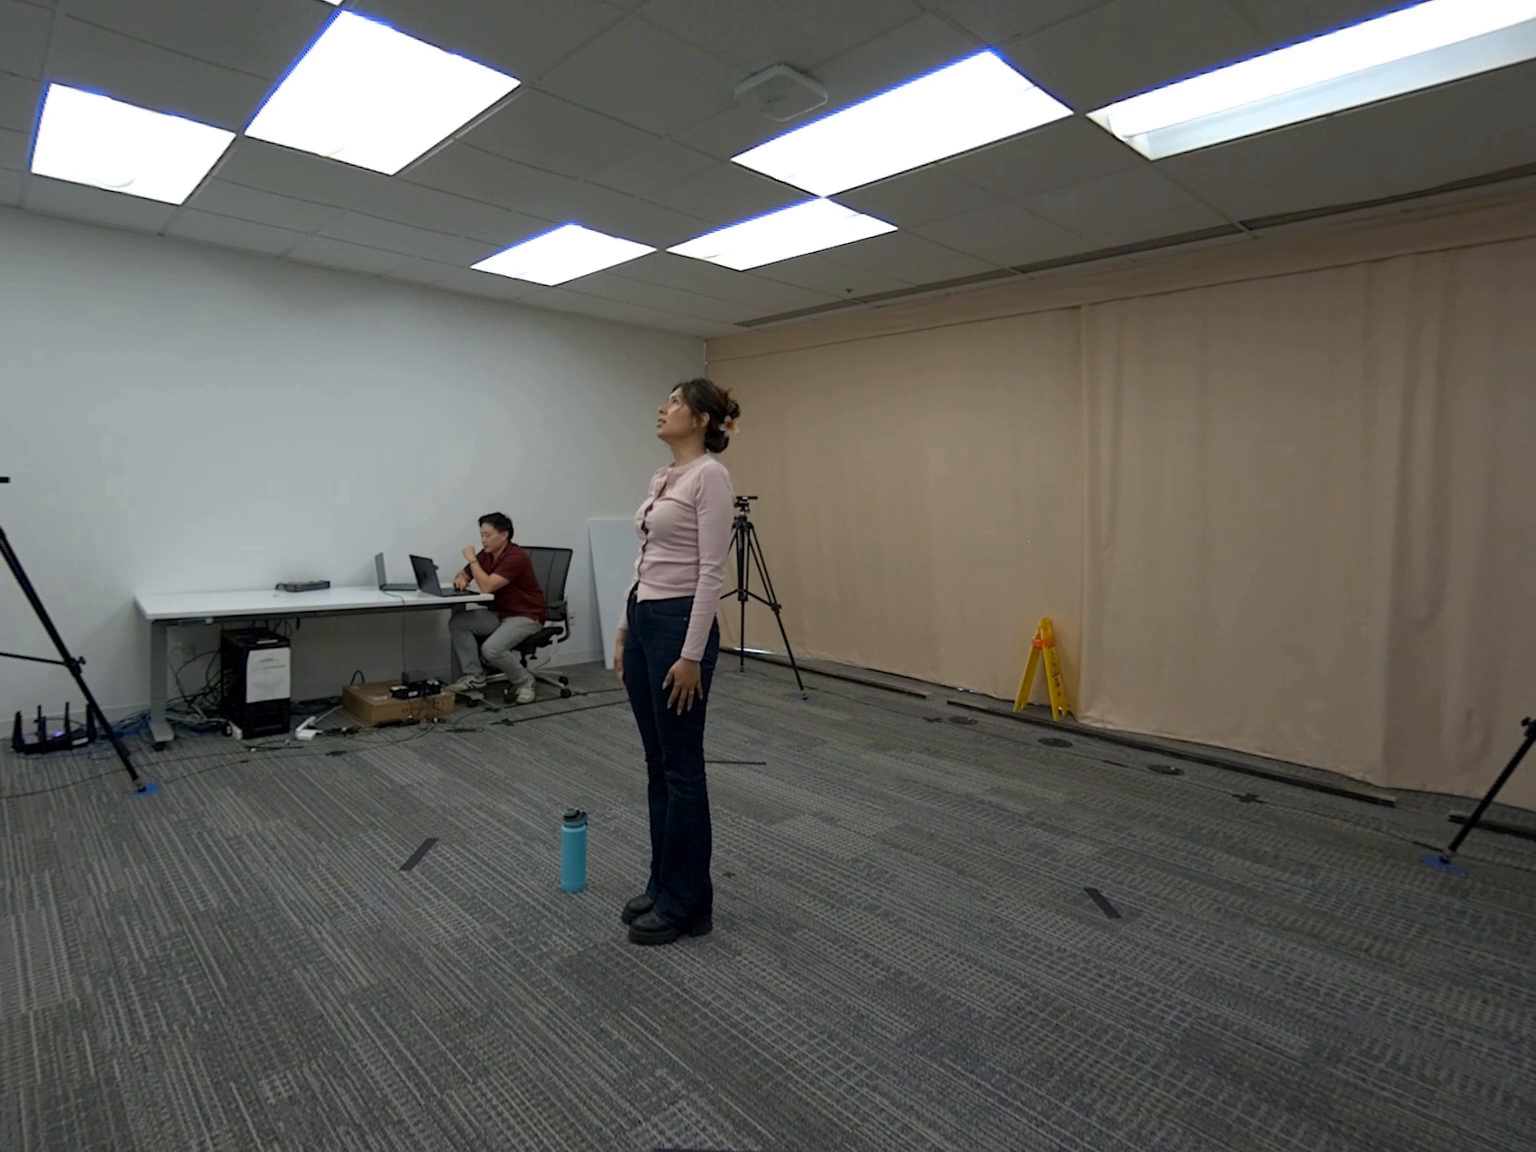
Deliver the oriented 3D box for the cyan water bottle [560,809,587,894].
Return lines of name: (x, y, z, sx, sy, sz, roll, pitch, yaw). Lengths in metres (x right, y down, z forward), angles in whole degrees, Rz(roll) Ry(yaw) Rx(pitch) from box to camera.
cyan water bottle: (-0.696, 0.966, 2.968, 0.092, 0.283, 0.092, 2, 2, -1)
